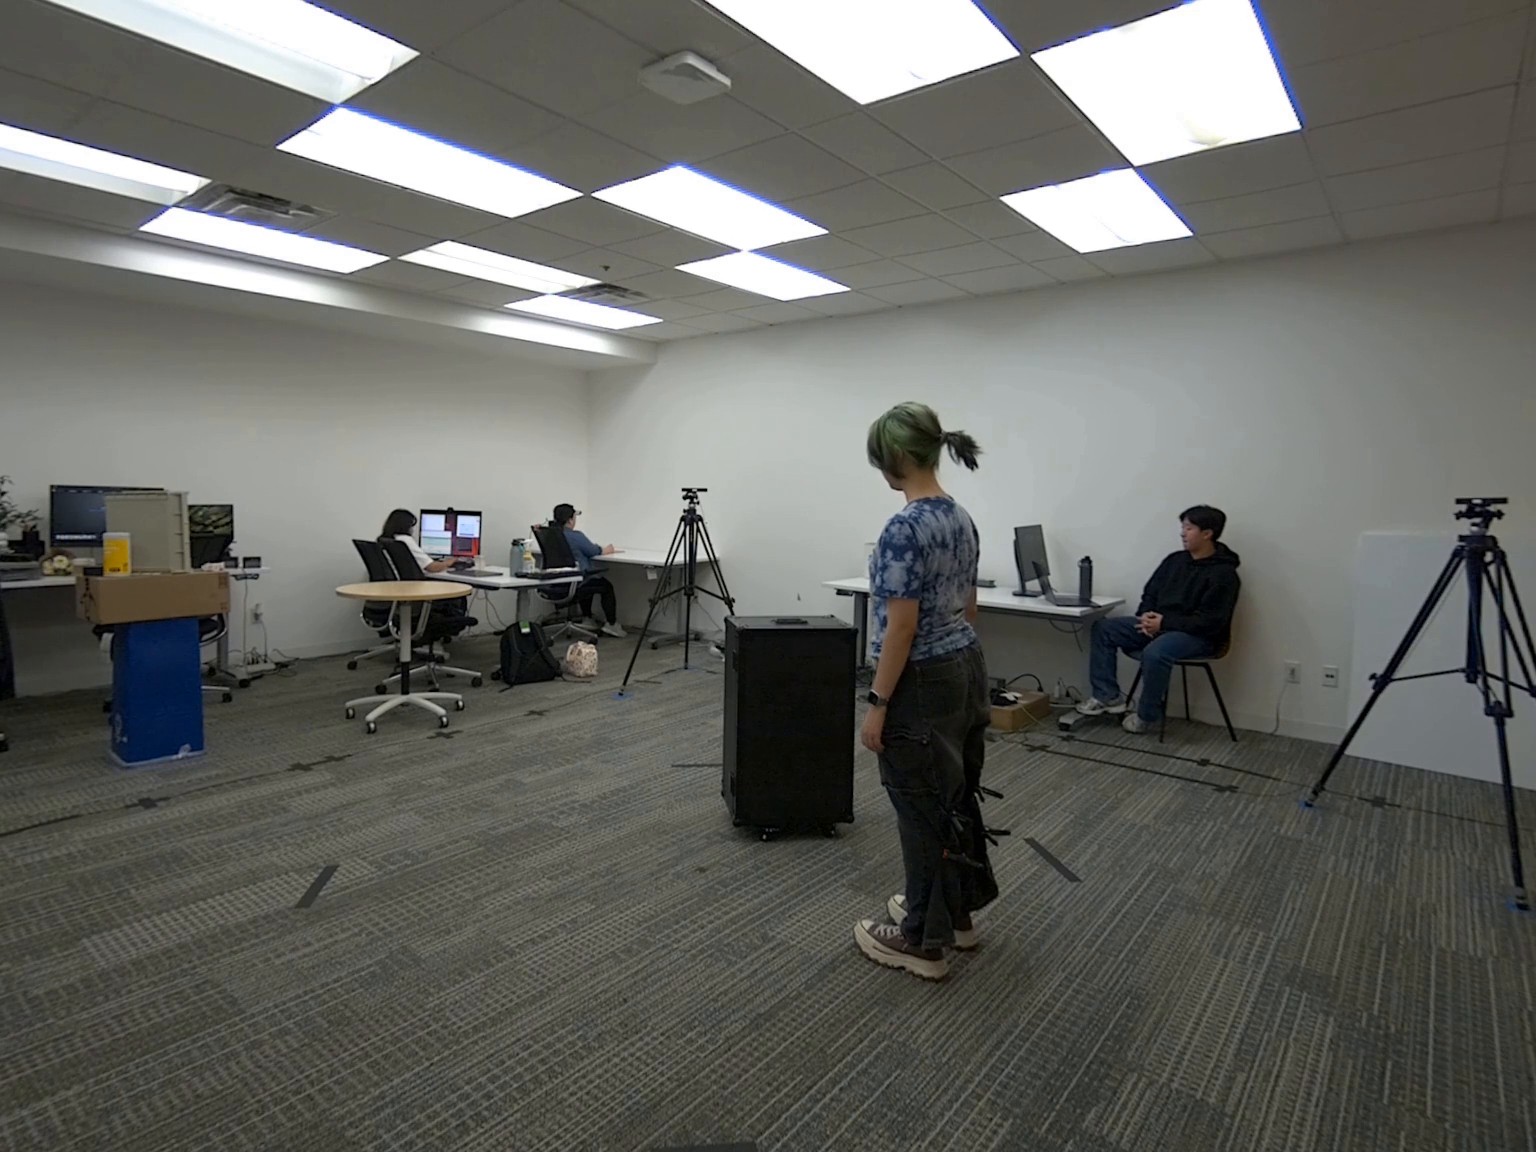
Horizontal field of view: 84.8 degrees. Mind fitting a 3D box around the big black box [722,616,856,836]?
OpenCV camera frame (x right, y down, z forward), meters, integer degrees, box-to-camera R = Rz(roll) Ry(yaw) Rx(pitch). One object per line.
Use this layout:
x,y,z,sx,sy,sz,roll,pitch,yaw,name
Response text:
0.062,0.609,3.532,0.516,0.860,0.401,0,2,-10,big black box
